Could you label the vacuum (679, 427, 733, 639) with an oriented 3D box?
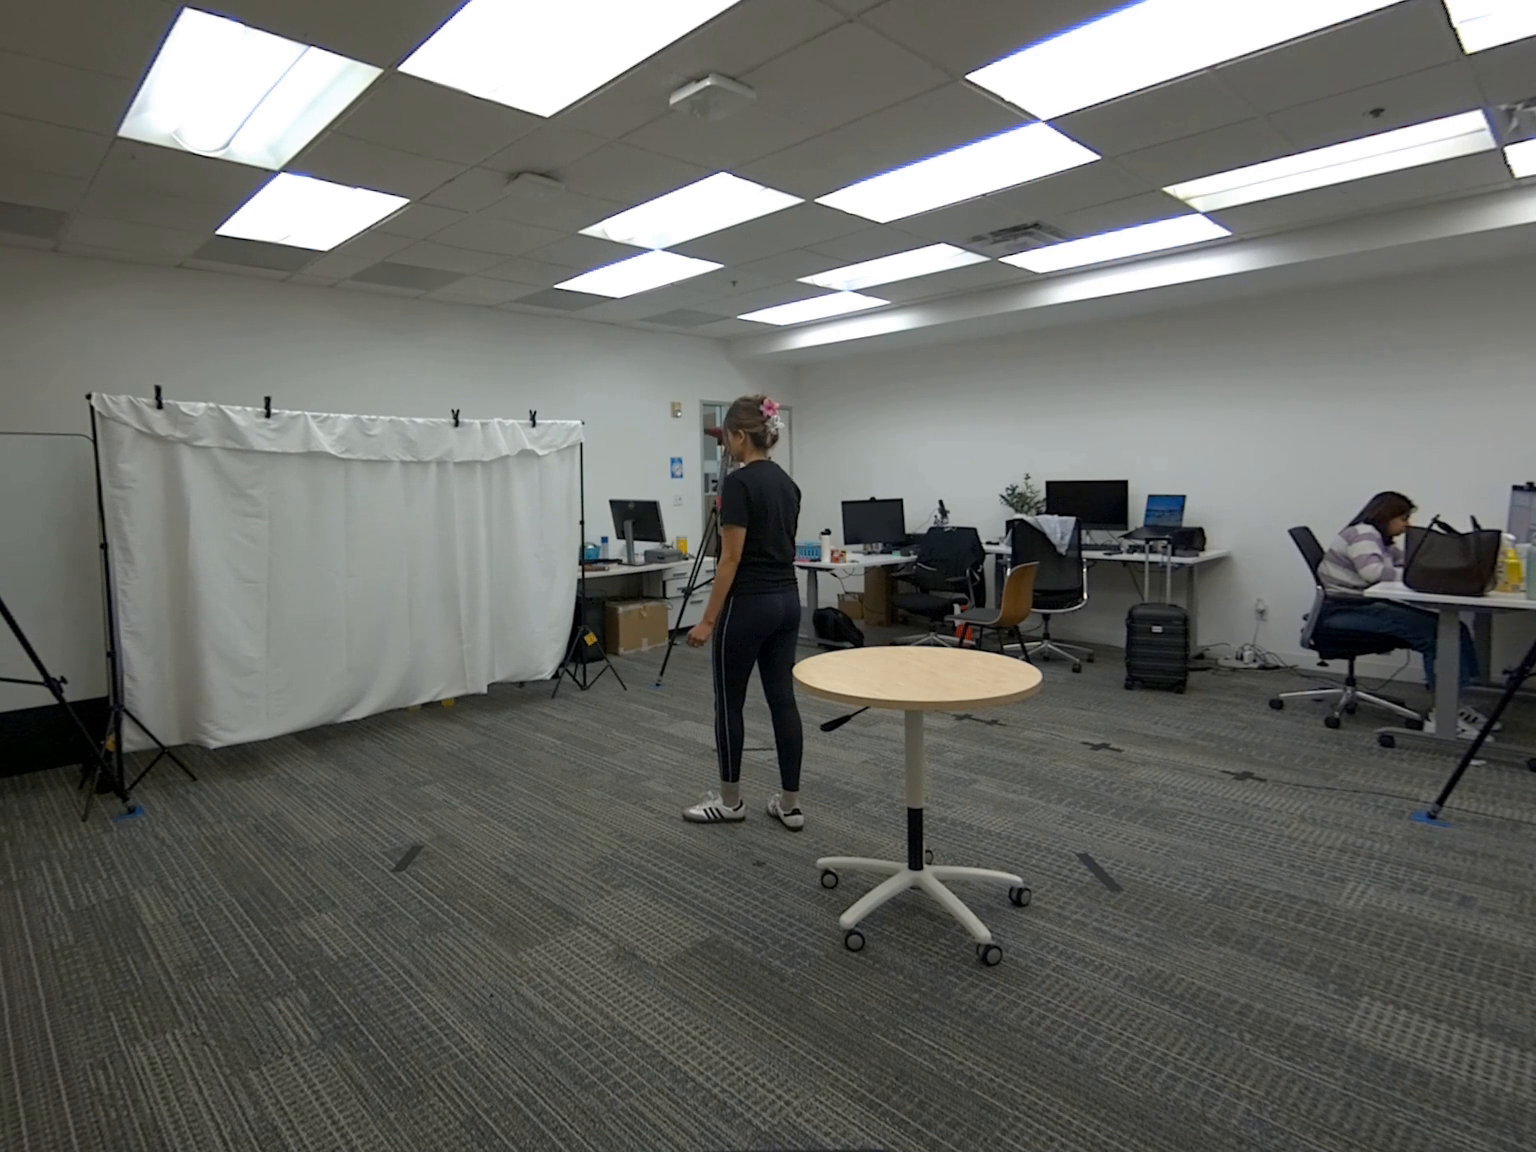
[{"bbox_3d":[-0.202,-0.122,3.841,0.254,1.042,0.144,4,8,7],"label":"vacuum"}]
